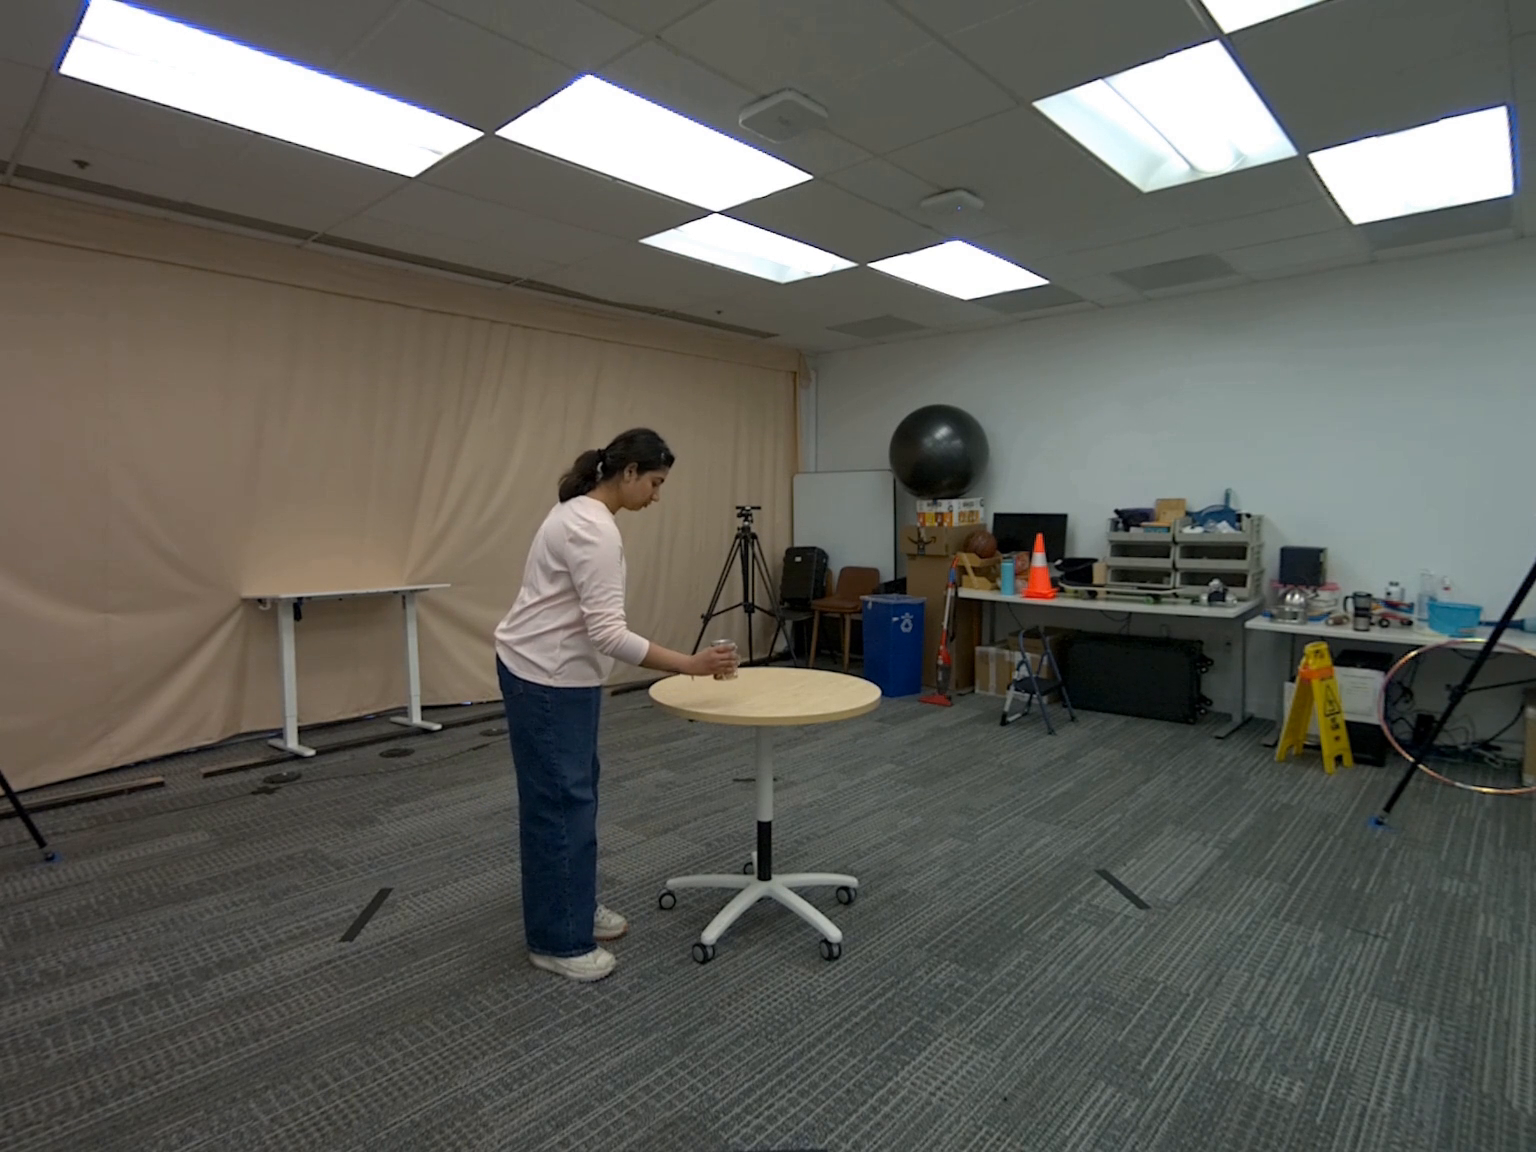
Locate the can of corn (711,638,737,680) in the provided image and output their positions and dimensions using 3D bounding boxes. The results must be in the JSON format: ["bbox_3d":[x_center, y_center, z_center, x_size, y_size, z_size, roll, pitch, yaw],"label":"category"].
[{"bbox_3d":[-0.127,0.256,2.504,0.074,0.111,0.074,-7,4,-1],"label":"can of corn"}]
